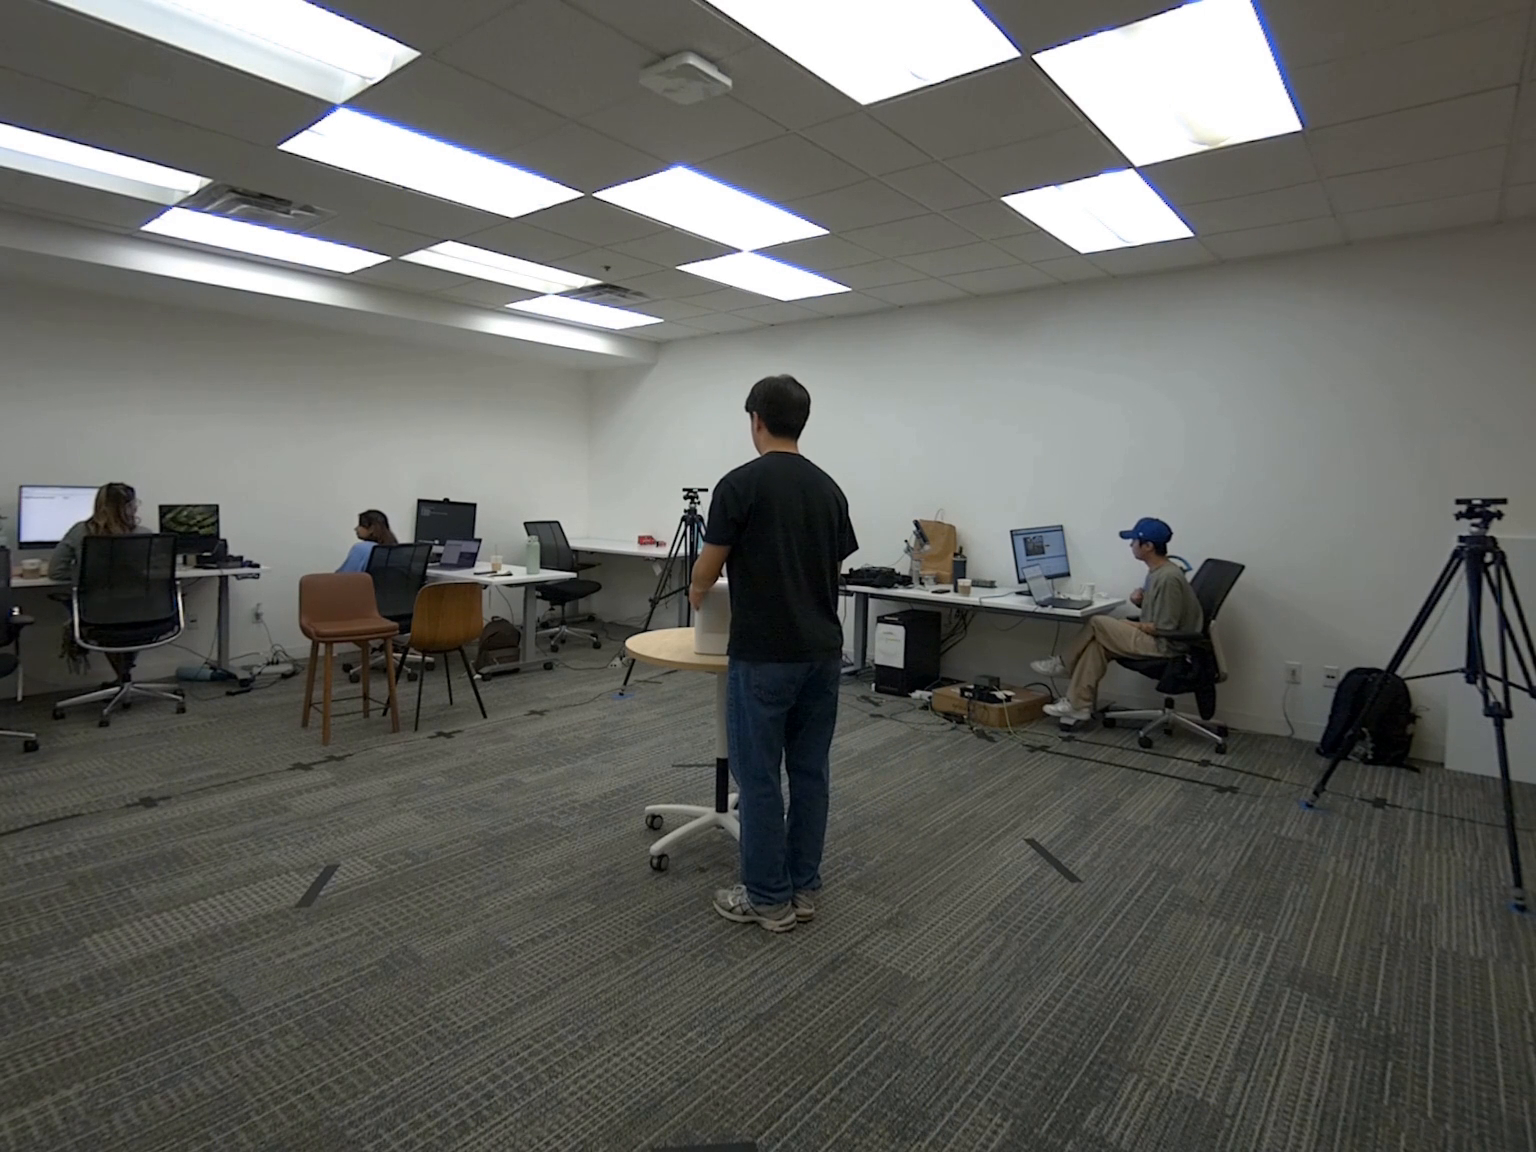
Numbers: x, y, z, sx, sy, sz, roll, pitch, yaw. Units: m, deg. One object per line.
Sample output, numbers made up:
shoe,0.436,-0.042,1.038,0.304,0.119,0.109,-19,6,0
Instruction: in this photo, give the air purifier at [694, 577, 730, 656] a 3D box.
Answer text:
air purifier,-0.190,0.144,3.117,0.172,0.264,0.171,0,4,4
